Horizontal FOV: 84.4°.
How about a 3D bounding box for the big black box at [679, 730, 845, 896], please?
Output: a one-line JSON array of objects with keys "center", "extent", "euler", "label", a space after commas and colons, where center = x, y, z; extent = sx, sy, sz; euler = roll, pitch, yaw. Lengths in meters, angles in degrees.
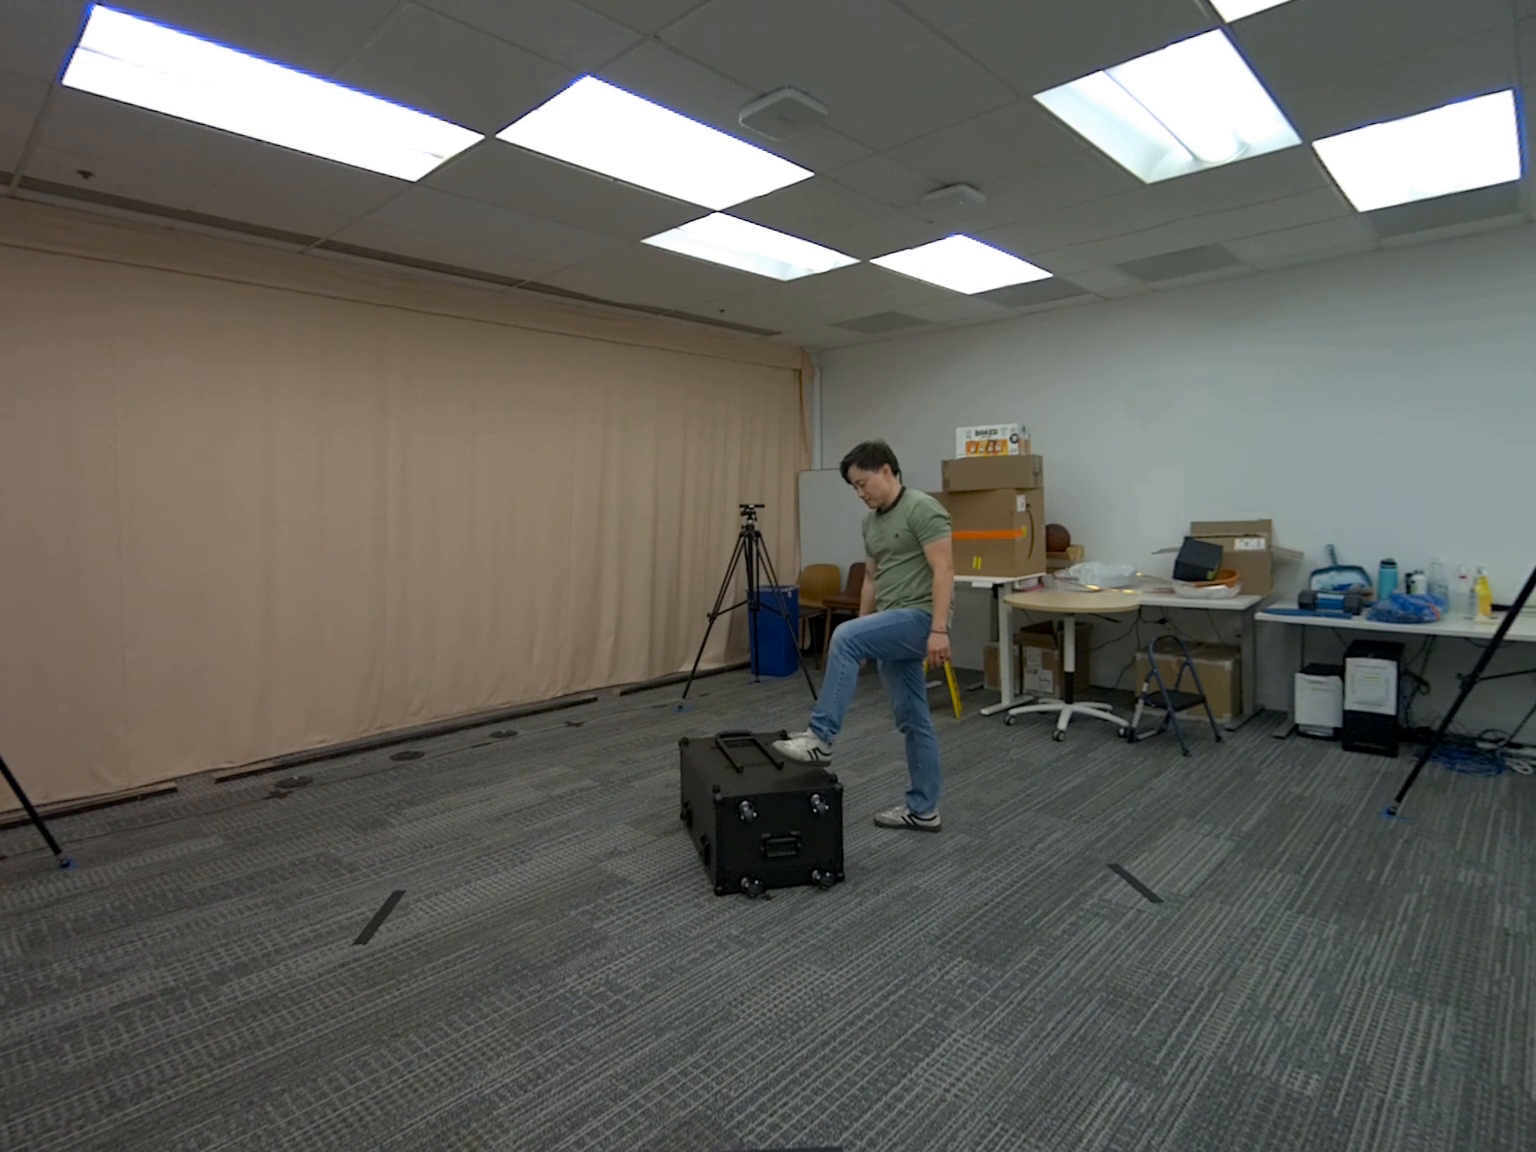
[{"center": [-0.042, 0.913, 3.382], "extent": [0.514, 0.395, 0.877], "euler": [-2, 6, -14], "label": "big black box"}]
